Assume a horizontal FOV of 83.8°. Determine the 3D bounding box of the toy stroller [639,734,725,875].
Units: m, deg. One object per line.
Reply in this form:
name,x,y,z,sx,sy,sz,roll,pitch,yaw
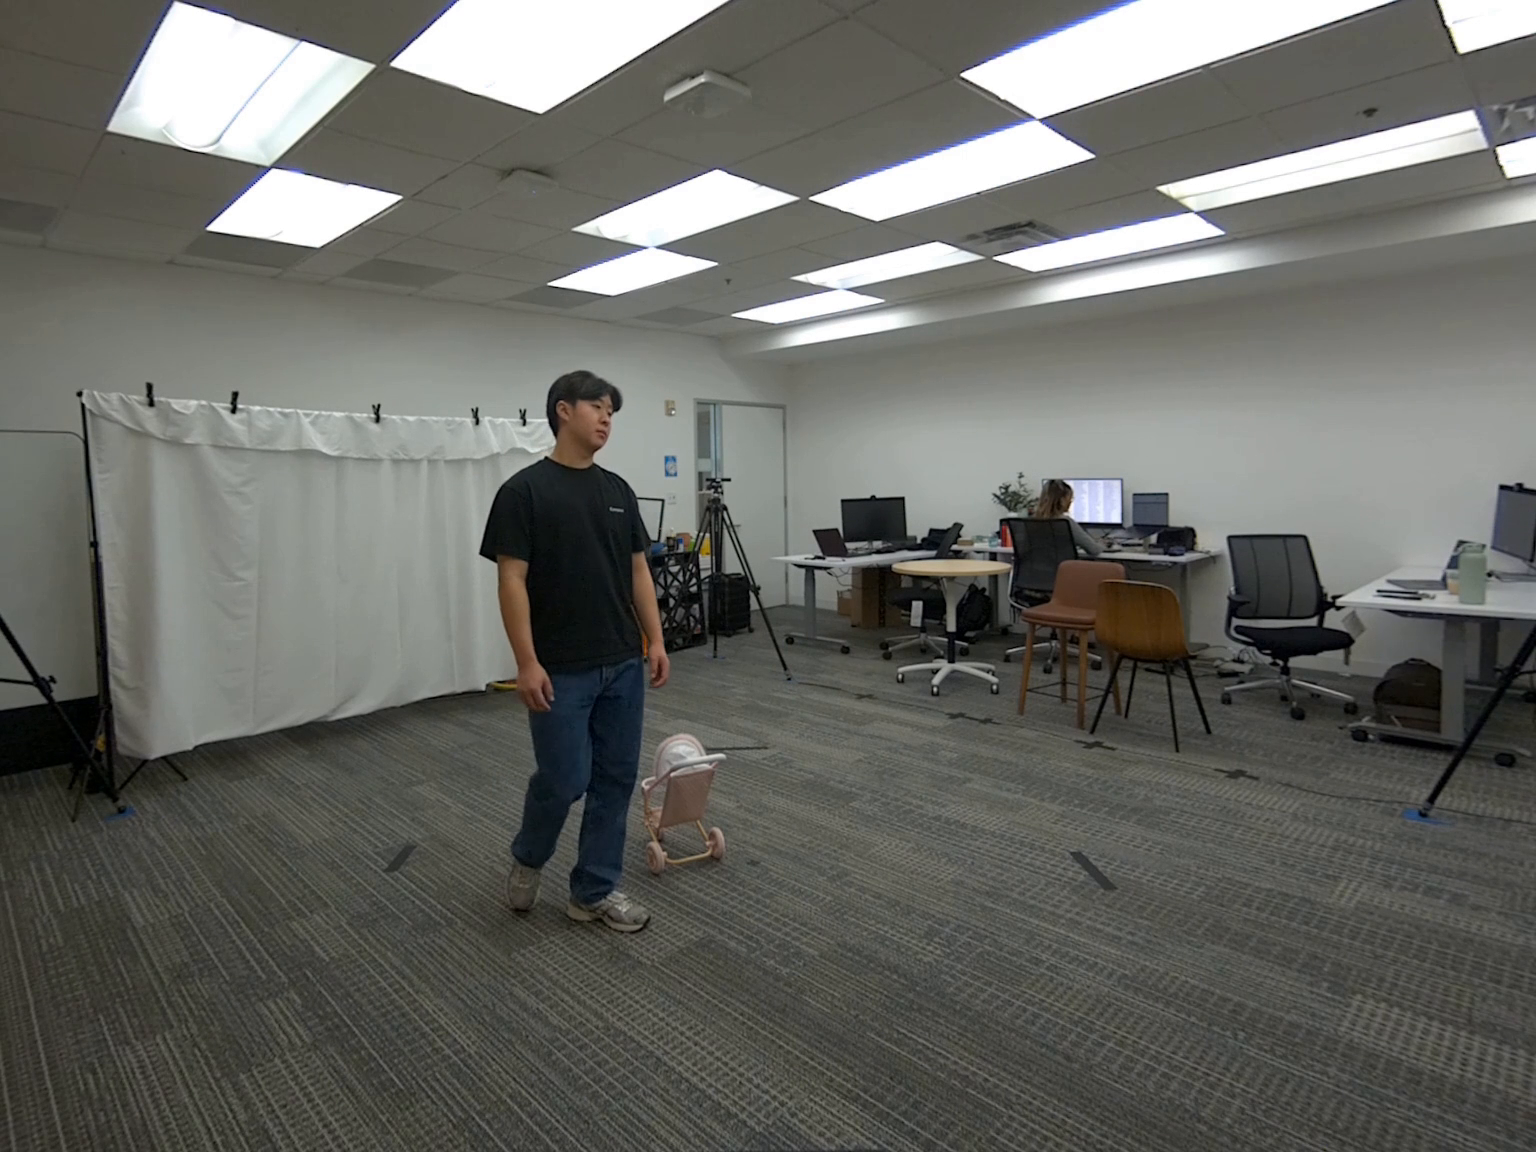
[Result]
toy stroller,-0.326,0.815,3.142,0.275,0.527,0.353,-3,20,-25
